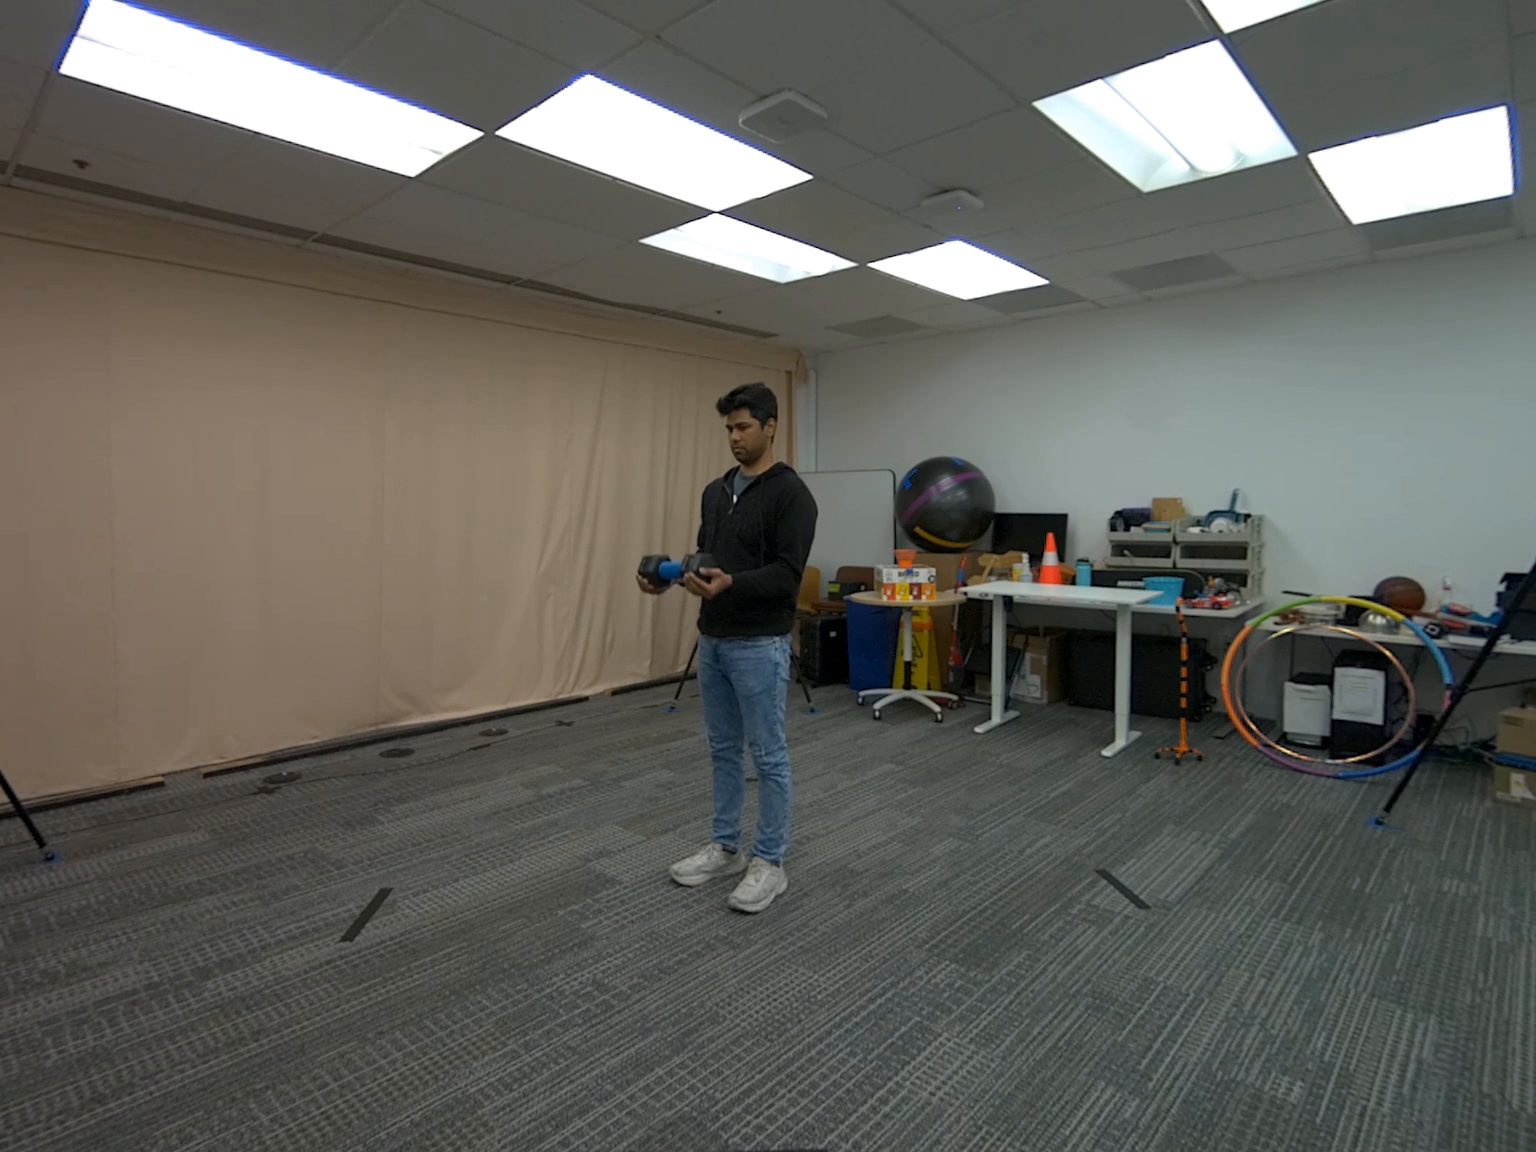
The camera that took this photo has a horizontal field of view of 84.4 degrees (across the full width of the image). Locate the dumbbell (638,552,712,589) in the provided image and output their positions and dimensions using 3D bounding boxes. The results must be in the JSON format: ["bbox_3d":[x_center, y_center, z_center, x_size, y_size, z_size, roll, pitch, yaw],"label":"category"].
[{"bbox_3d":[-0.293,-0.015,2.831,0.303,0.123,0.105,1,-28,43],"label":"dumbbell"}]
